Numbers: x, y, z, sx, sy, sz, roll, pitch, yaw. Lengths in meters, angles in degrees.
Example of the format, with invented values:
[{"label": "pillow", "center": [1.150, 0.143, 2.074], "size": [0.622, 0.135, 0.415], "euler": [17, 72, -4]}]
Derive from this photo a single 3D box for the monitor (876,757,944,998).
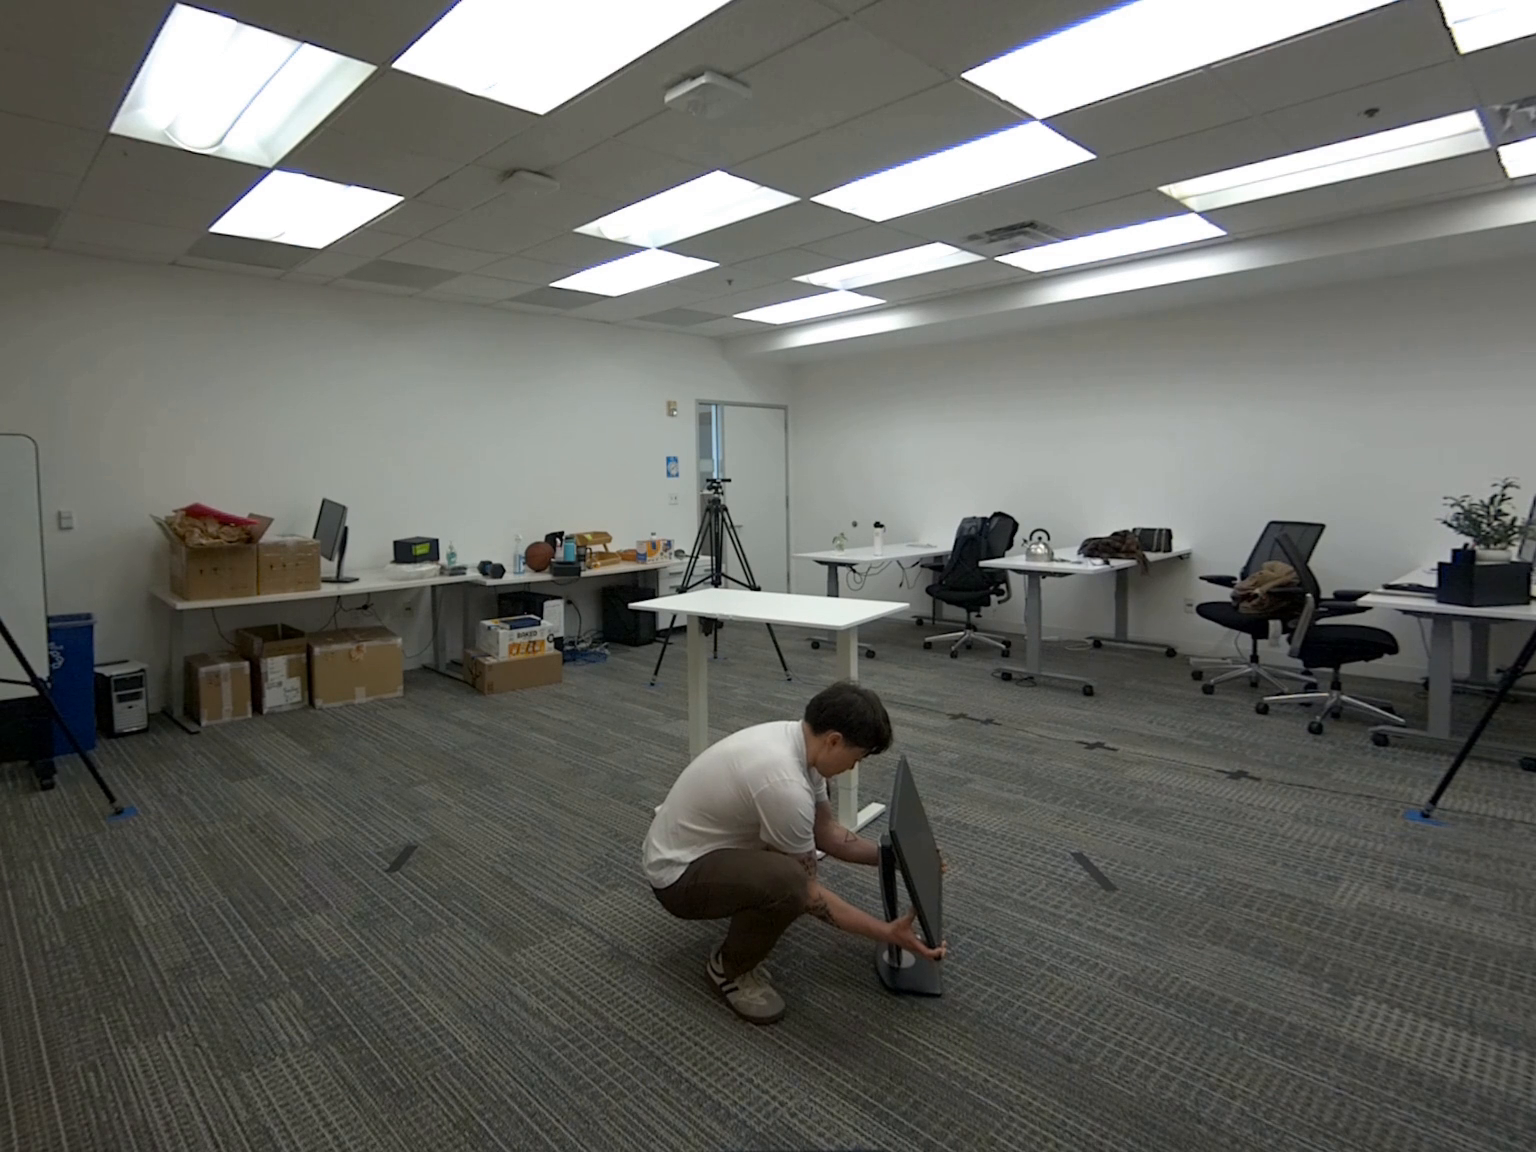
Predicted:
[{"label": "monitor", "center": [0.392, 0.854, 2.408], "size": [0.189, 0.519, 0.538], "euler": [-2, 7, 8]}]
